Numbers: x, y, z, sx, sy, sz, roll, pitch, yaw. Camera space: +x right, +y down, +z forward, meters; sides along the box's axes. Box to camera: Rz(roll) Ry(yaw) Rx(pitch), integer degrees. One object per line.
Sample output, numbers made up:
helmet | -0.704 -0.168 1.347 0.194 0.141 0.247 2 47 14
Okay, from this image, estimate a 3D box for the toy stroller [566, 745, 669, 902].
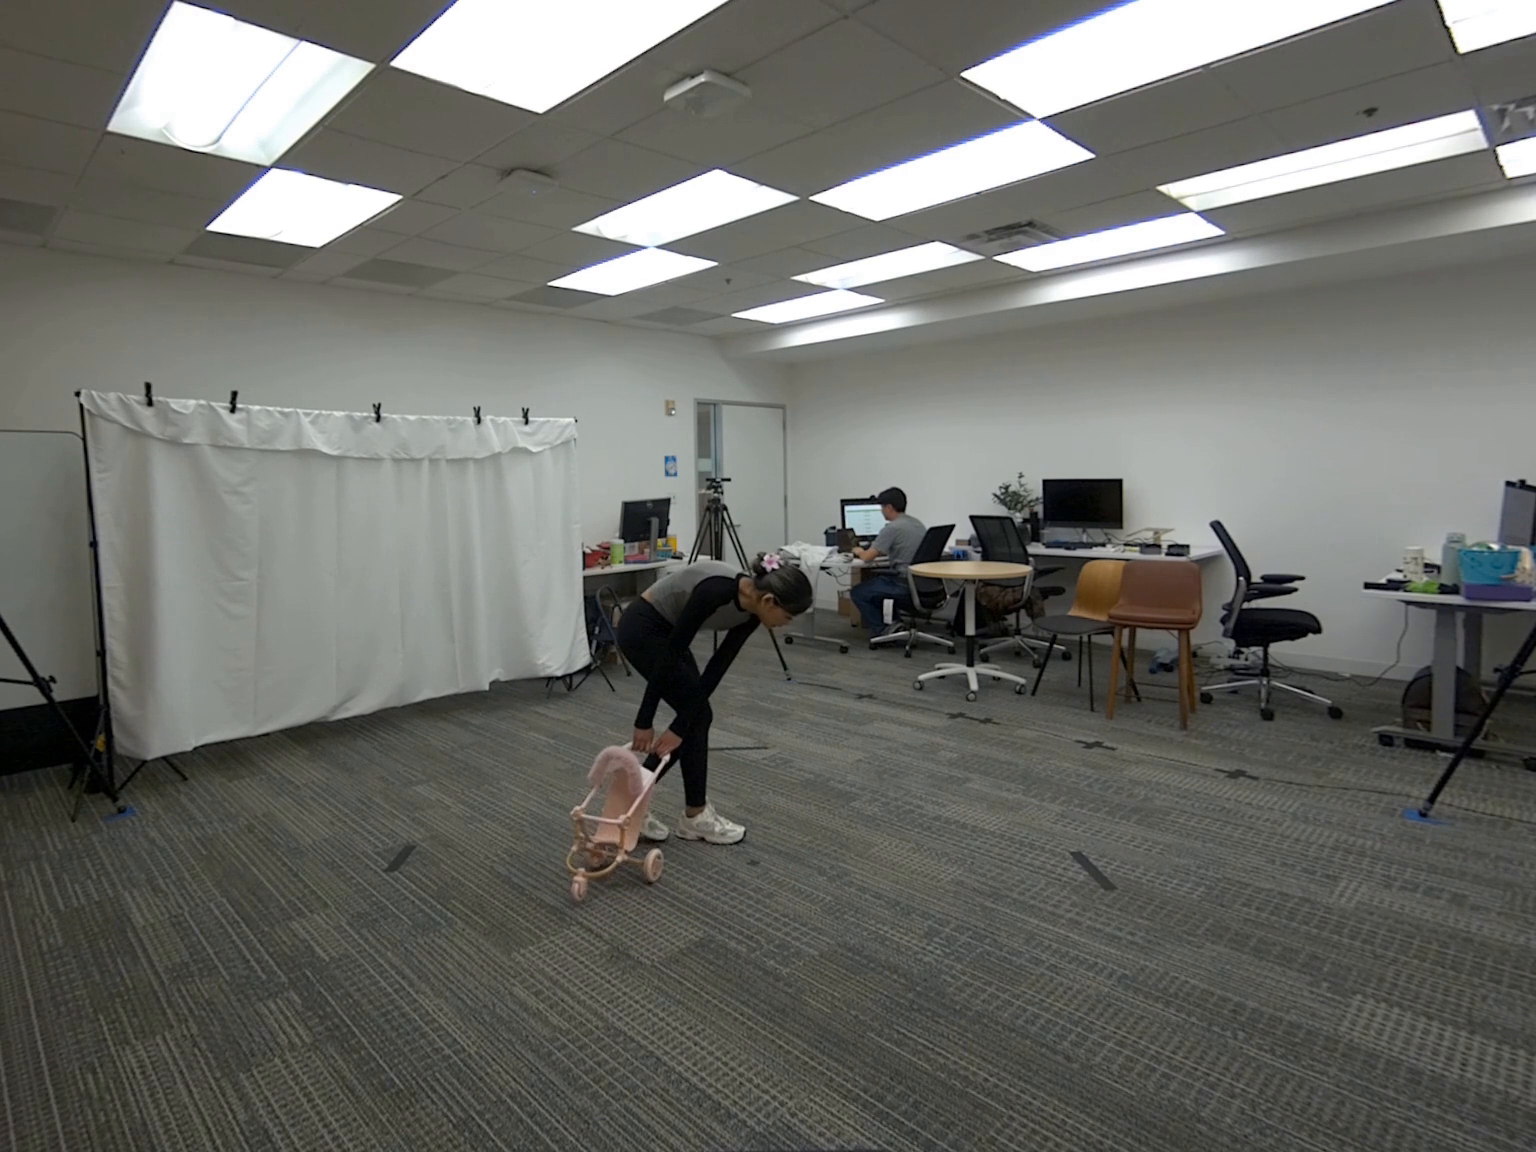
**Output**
toy stroller | -0.536 0.836 2.985 0.288 0.541 0.329 0 -15 30
